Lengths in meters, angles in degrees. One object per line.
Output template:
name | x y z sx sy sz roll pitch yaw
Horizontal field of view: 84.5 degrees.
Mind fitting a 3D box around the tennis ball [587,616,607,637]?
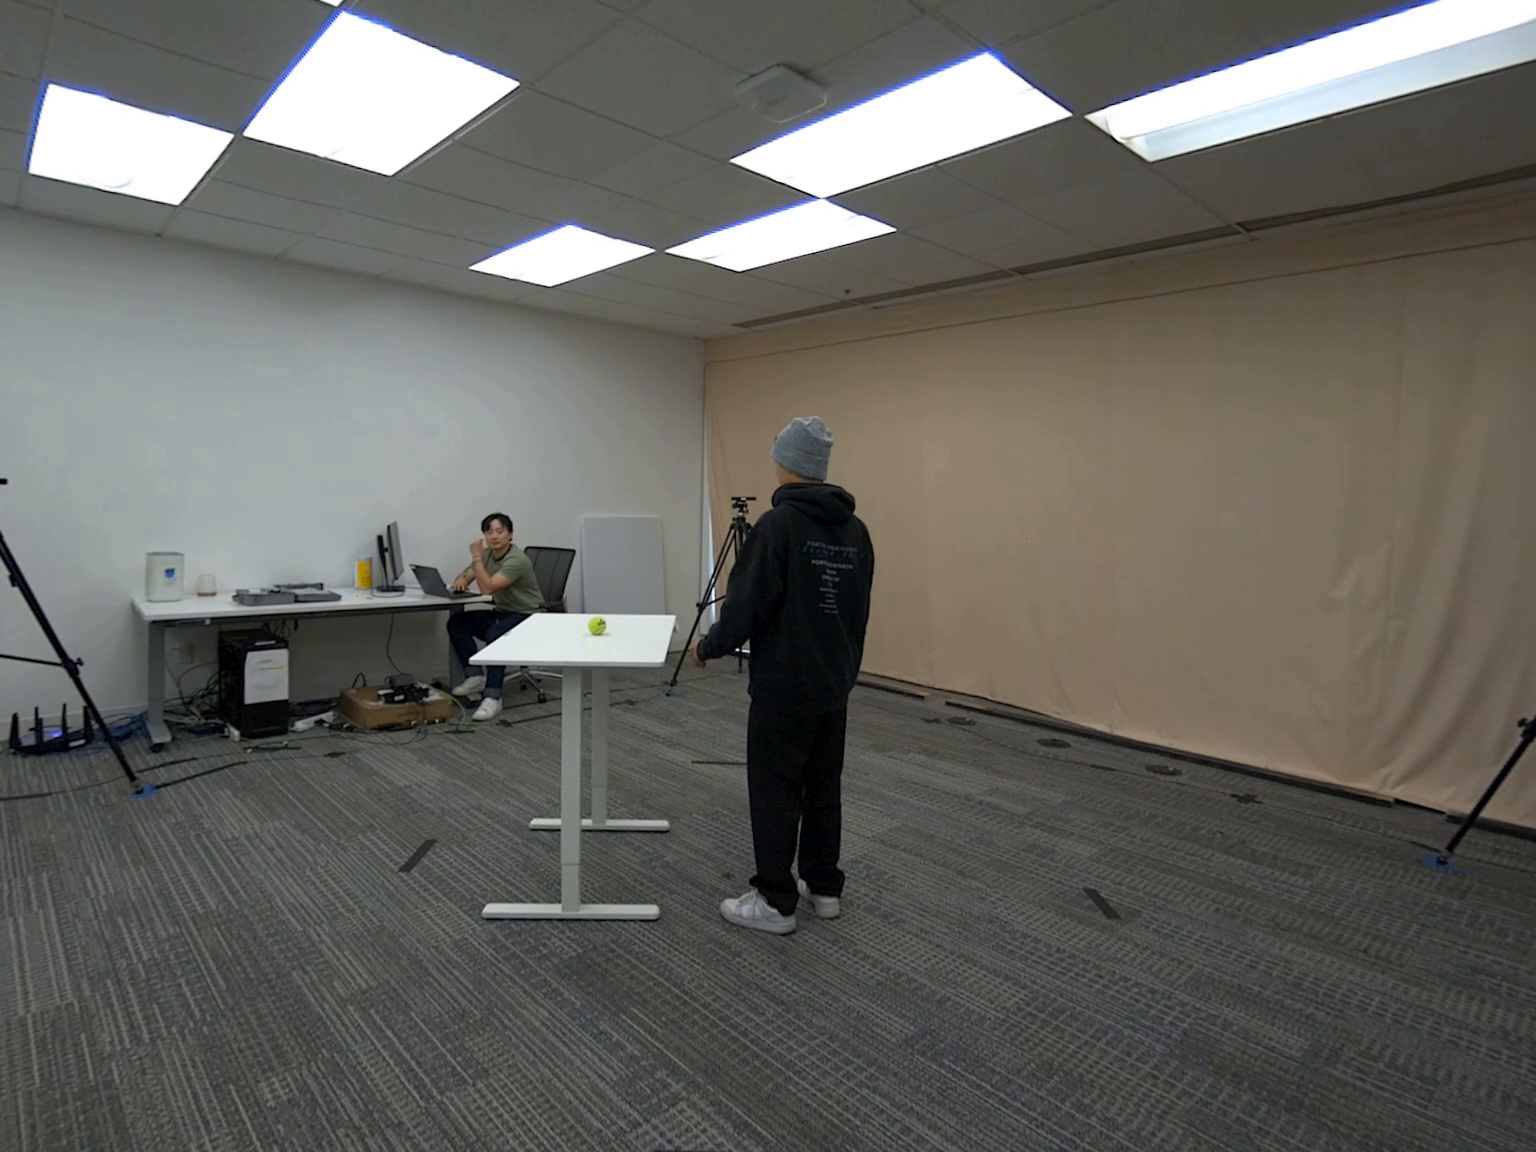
tennis ball | -0.626 0.181 3.086 0.066 0.066 0.067 1 4 -1
